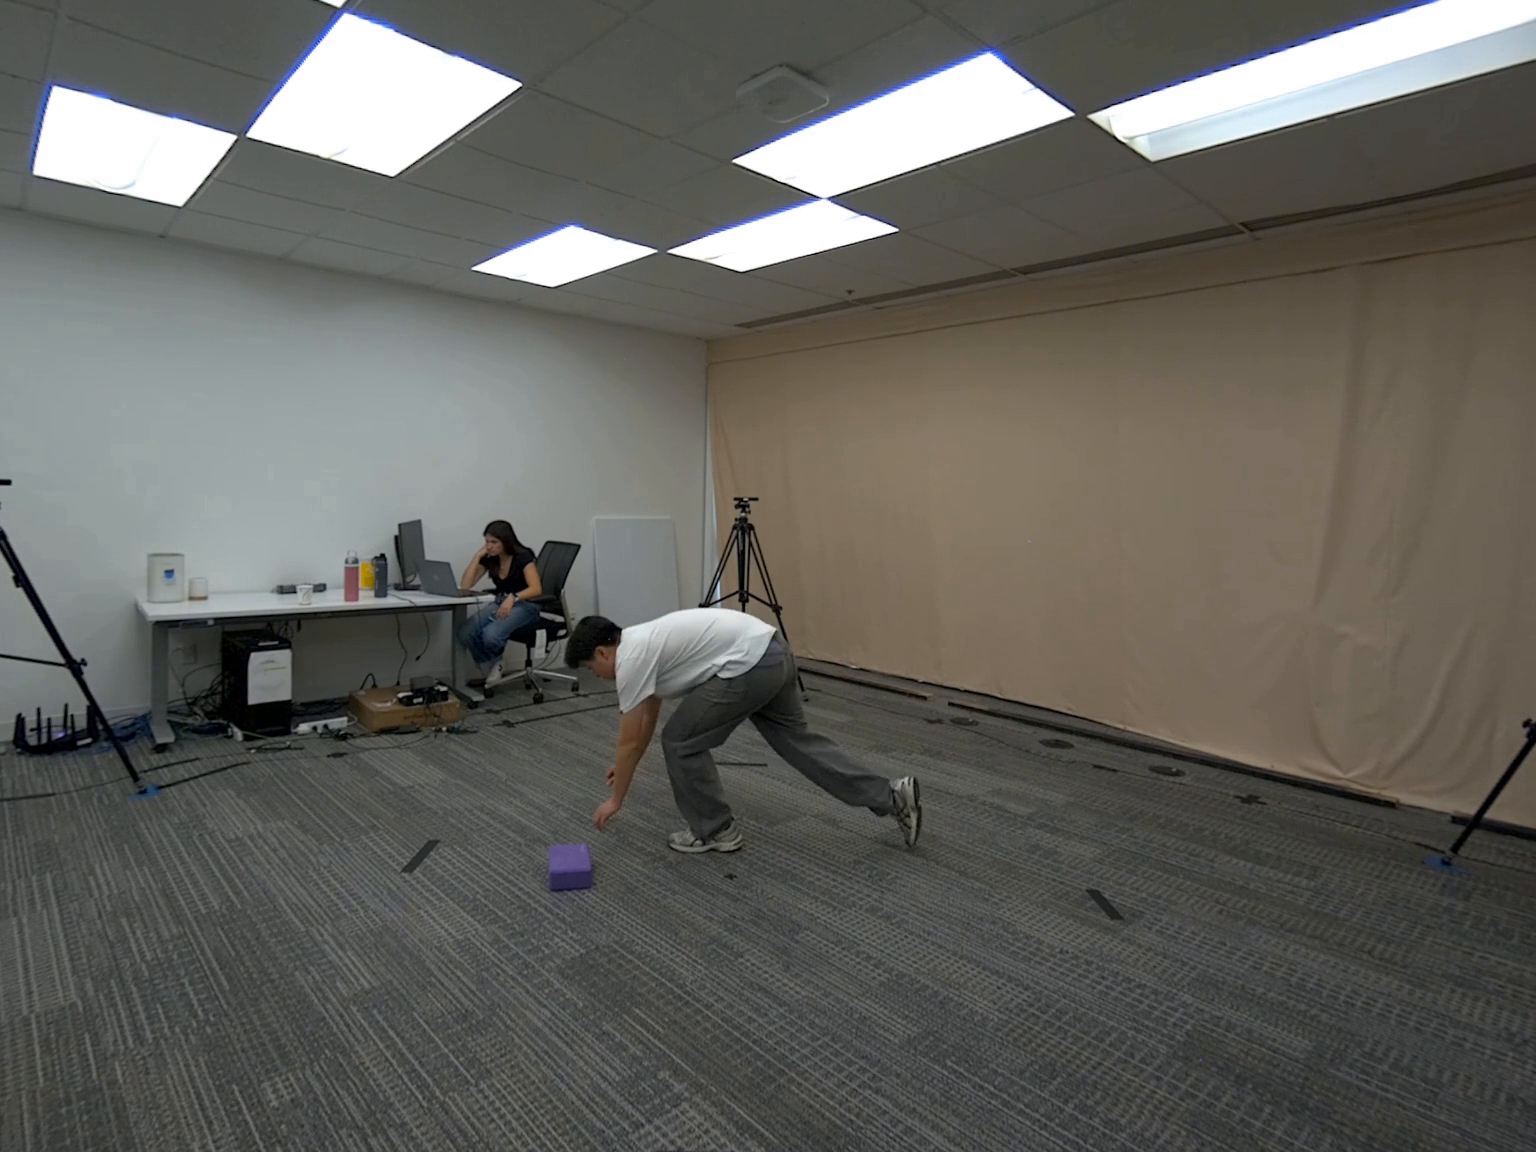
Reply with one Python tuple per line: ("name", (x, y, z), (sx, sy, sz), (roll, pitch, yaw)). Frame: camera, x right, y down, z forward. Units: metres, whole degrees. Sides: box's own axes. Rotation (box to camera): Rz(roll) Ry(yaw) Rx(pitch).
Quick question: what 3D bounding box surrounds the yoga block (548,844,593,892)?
("yoga block", (-0.733, 1.062, 3.064), (0.147, 0.076, 0.233), (1, 5, -15))
